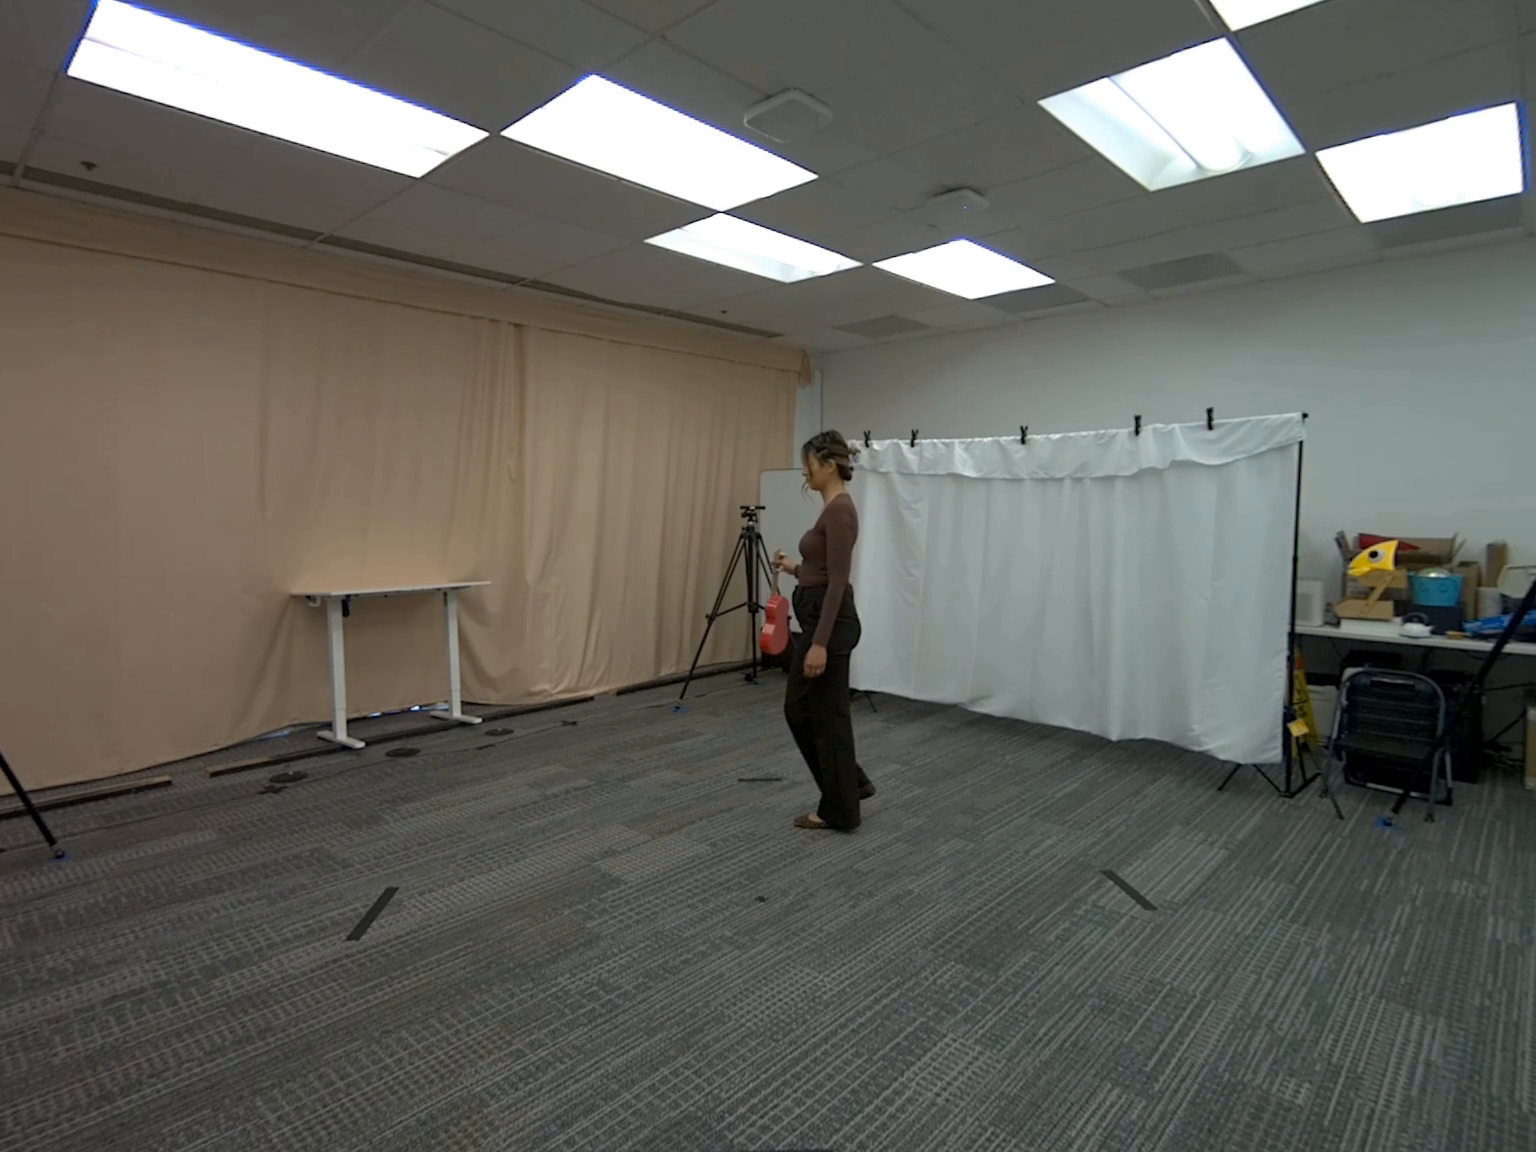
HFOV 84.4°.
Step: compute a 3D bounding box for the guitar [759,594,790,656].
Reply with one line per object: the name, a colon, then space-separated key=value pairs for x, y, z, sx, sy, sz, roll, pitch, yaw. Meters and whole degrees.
guitar: x=0.039 y=0.128 z=3.971 sx=0.073 sy=0.493 sz=0.189 roll=11 pitch=17 yaw=25
